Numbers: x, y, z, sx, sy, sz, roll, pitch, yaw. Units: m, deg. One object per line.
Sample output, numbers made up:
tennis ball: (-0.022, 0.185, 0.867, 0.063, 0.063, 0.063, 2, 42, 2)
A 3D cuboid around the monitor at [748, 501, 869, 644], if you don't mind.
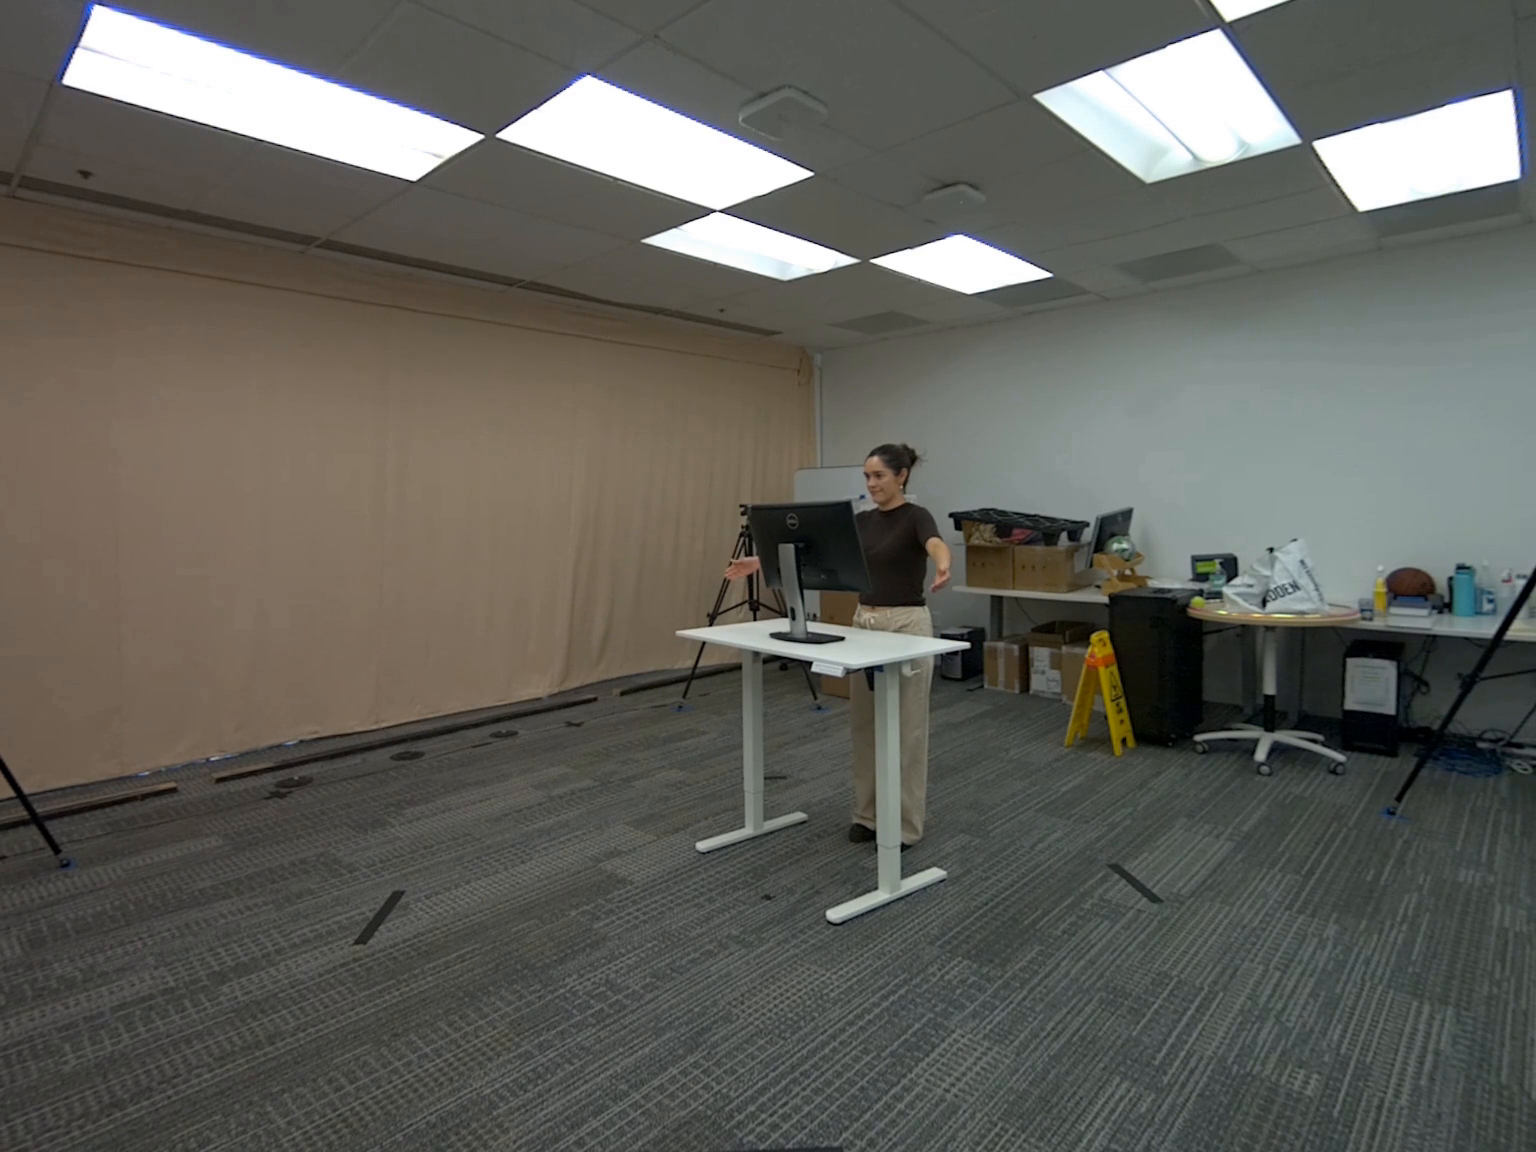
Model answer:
monitor: (0.136, -0.016, 3.161, 0.557, 0.521, 0.182, 1, 7, 45)
